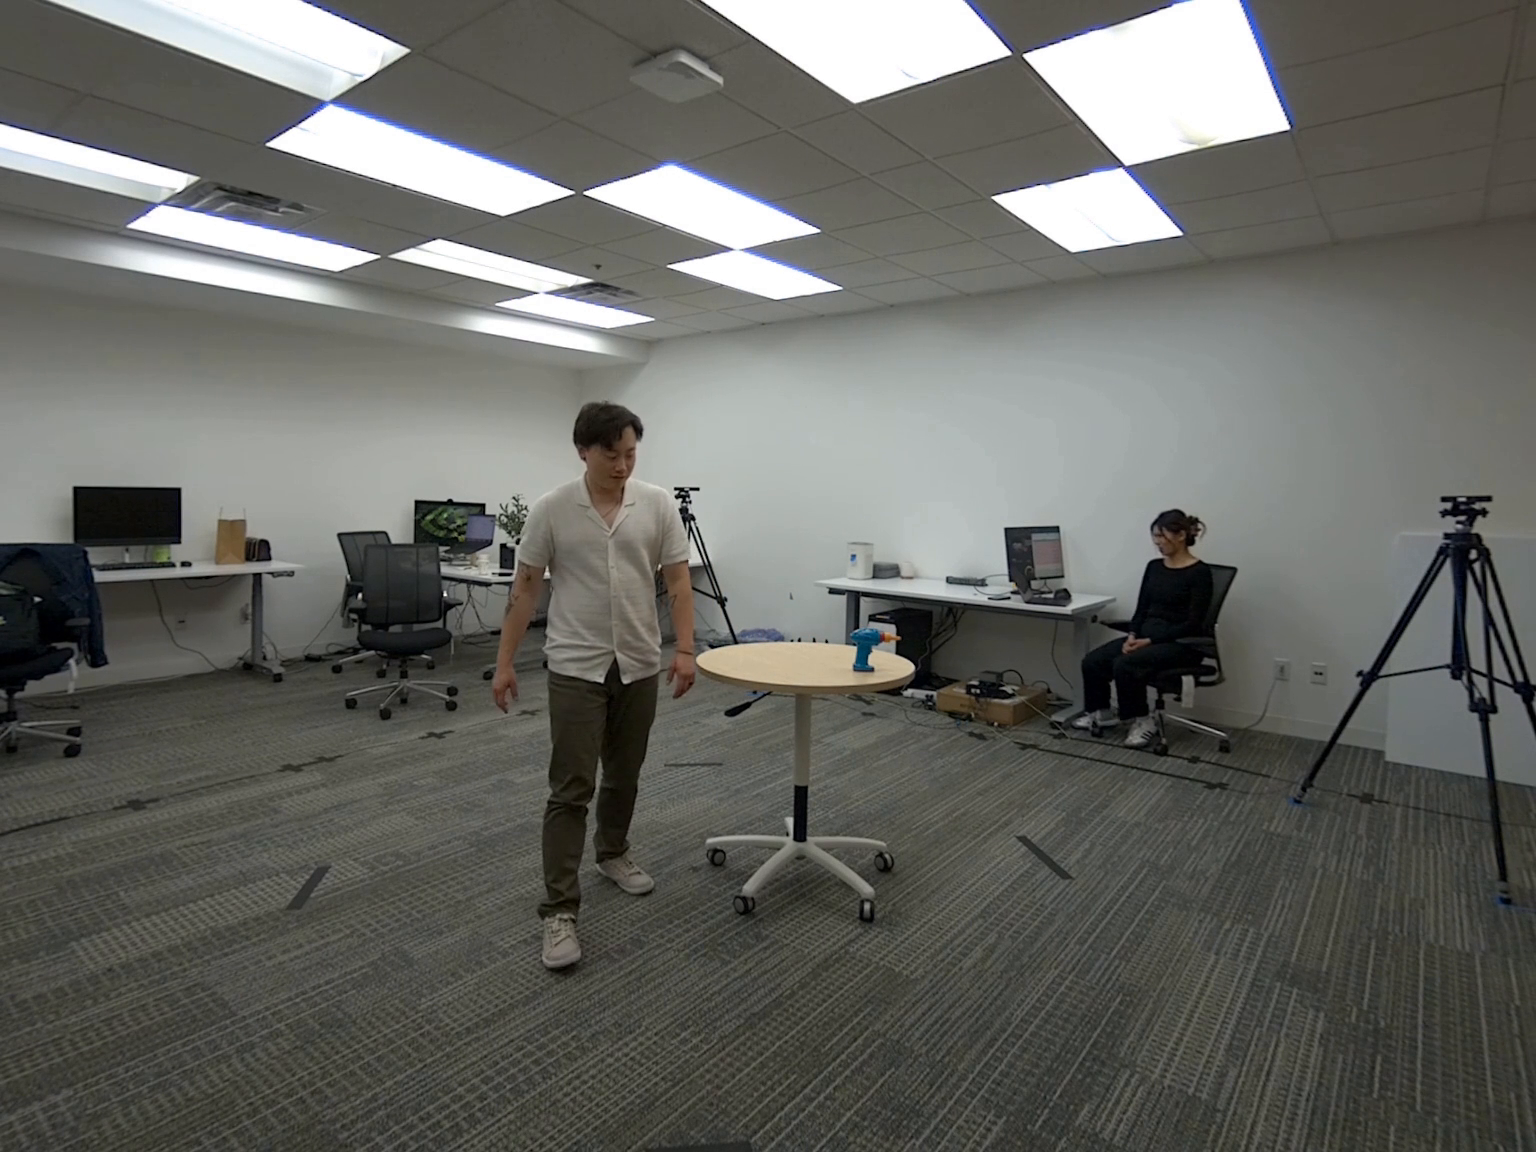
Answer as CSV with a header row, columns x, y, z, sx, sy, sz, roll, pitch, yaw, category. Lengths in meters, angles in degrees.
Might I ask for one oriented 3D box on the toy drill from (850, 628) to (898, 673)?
x,y,z,sx,sy,sz,roll,pitch,yaw,category
0.351,0.246,2.865,0.169,0.146,0.061,1,3,-4,toy drill
